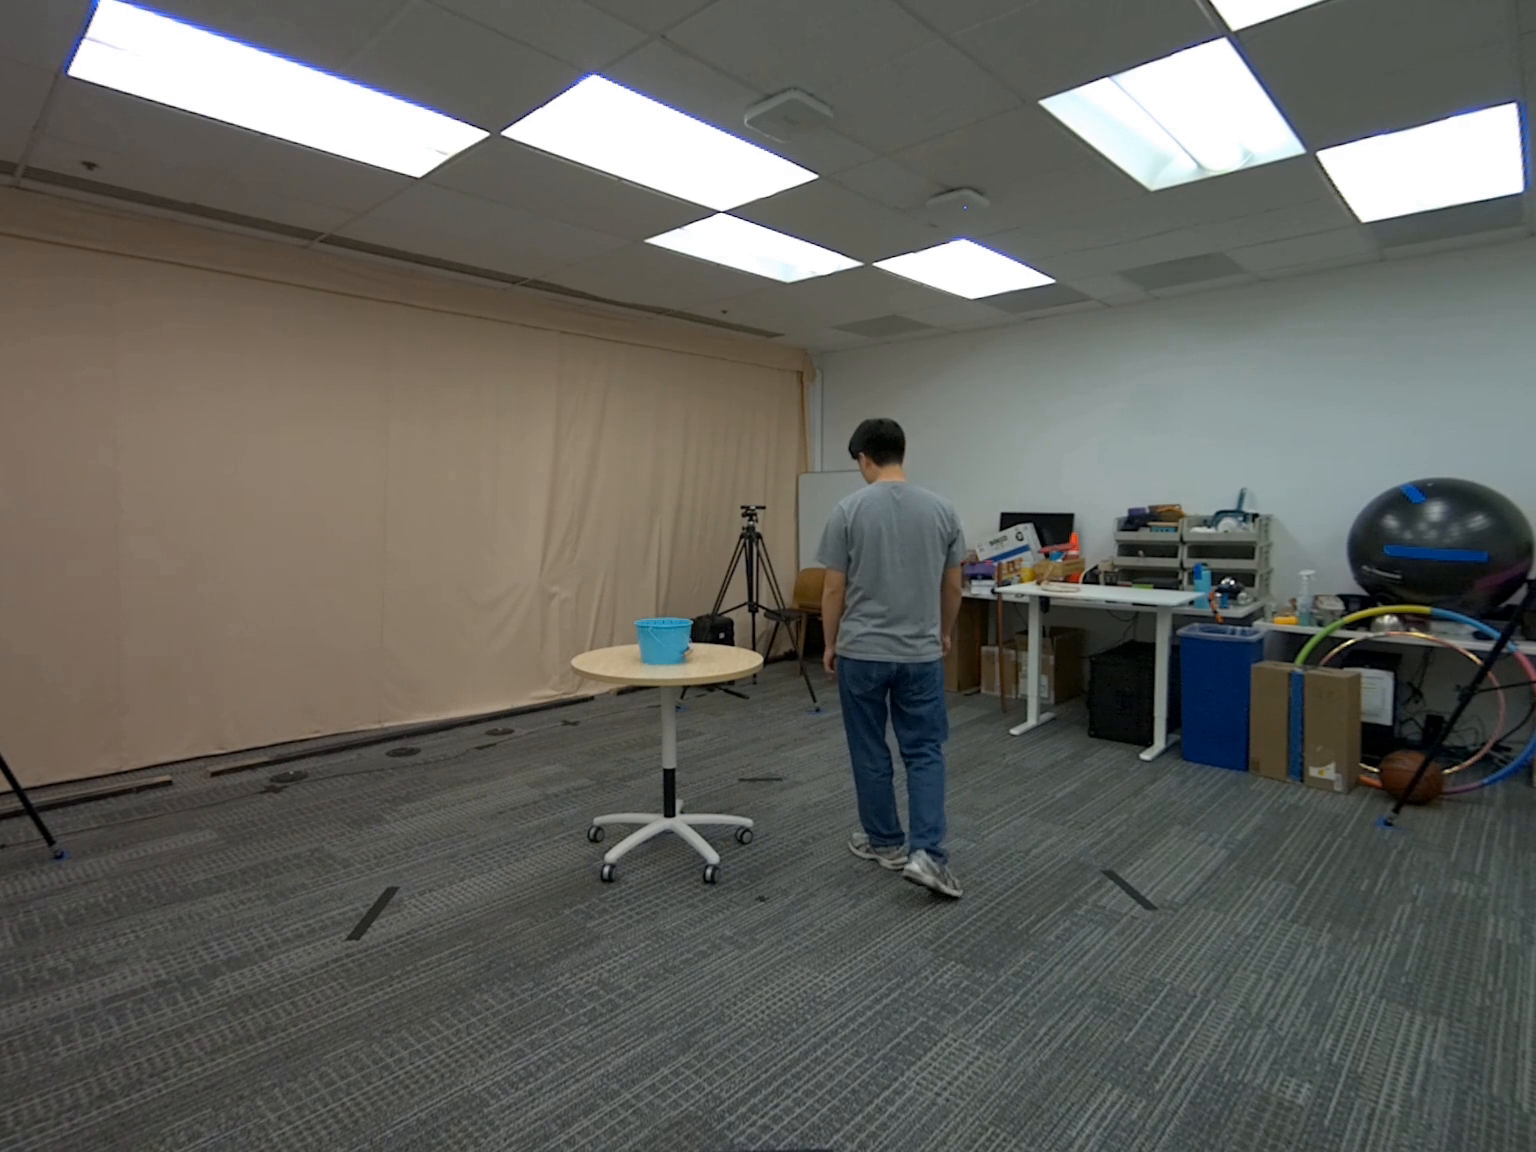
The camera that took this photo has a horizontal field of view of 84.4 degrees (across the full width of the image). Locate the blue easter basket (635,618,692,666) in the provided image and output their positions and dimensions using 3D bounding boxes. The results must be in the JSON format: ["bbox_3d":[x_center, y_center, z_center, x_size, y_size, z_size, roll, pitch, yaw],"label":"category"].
[{"bbox_3d":[-0.409,0.260,3.340,0.243,0.155,0.244,-1,4,-2],"label":"blue easter basket"}]
